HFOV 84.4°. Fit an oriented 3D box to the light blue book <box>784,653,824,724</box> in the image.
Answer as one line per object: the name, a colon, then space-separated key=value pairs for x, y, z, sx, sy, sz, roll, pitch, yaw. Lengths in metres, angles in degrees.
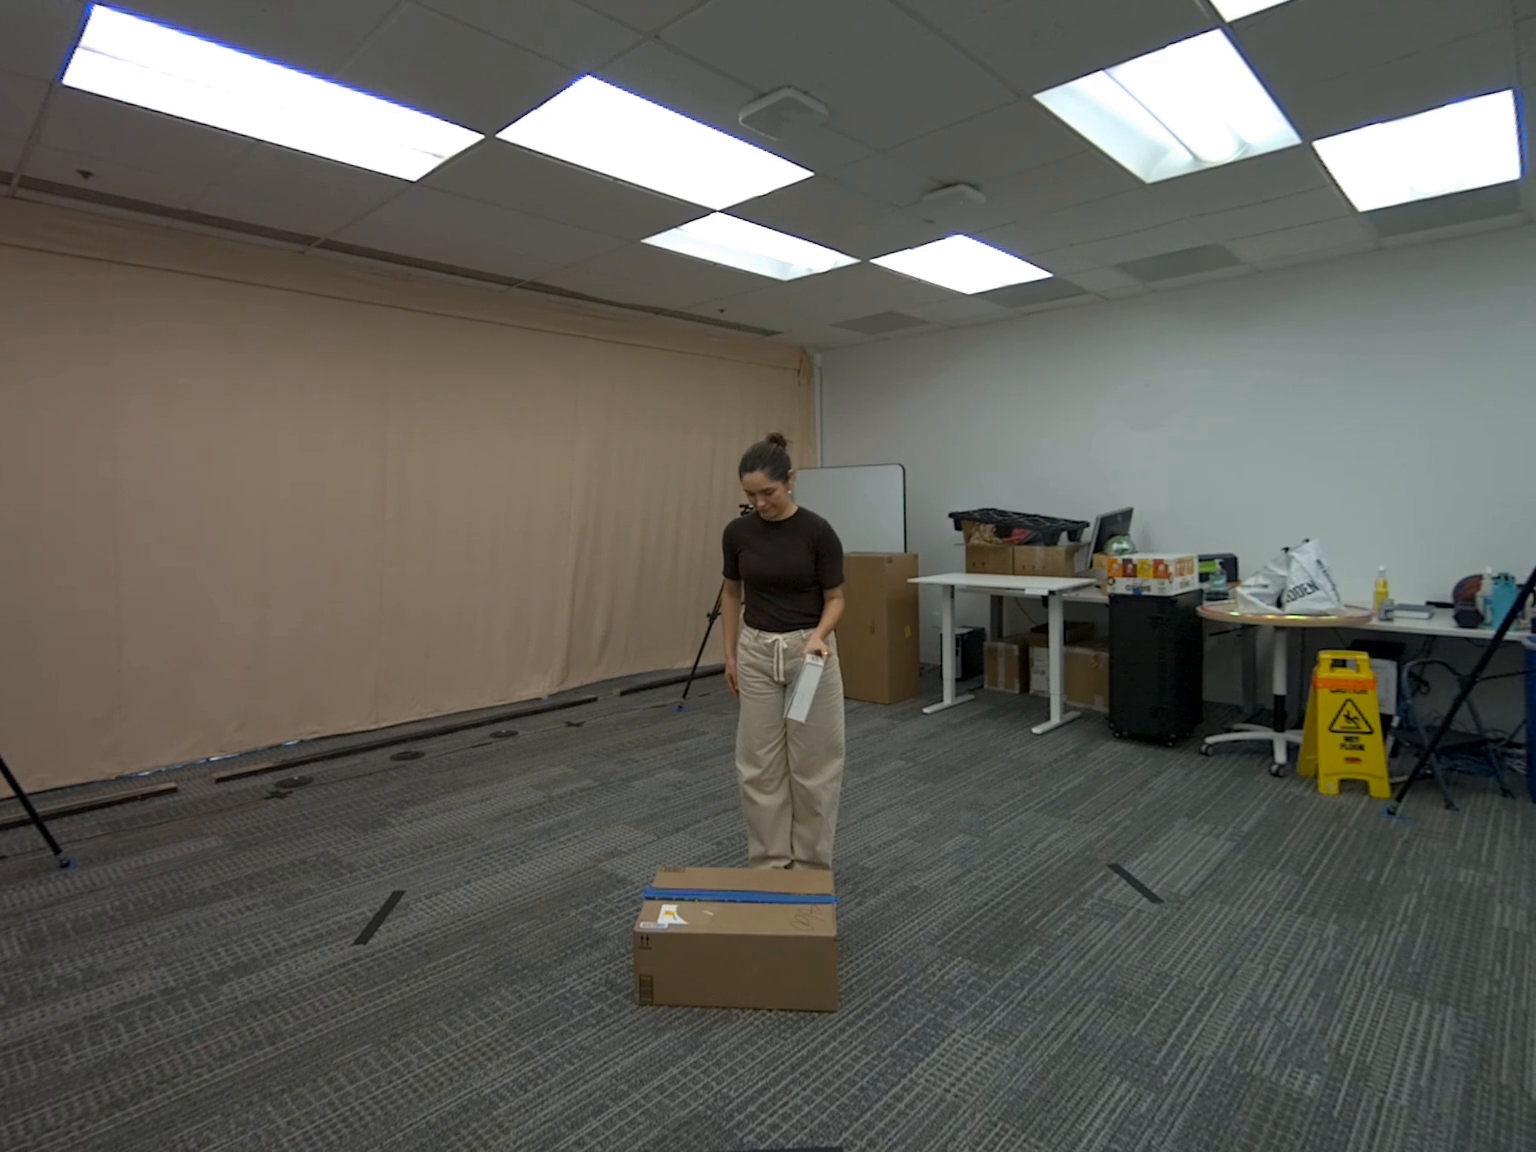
light blue book: x=0.115 y=0.333 z=2.647 sx=0.059 sy=0.191 sz=0.260 roll=15 pitch=5 yaw=2
